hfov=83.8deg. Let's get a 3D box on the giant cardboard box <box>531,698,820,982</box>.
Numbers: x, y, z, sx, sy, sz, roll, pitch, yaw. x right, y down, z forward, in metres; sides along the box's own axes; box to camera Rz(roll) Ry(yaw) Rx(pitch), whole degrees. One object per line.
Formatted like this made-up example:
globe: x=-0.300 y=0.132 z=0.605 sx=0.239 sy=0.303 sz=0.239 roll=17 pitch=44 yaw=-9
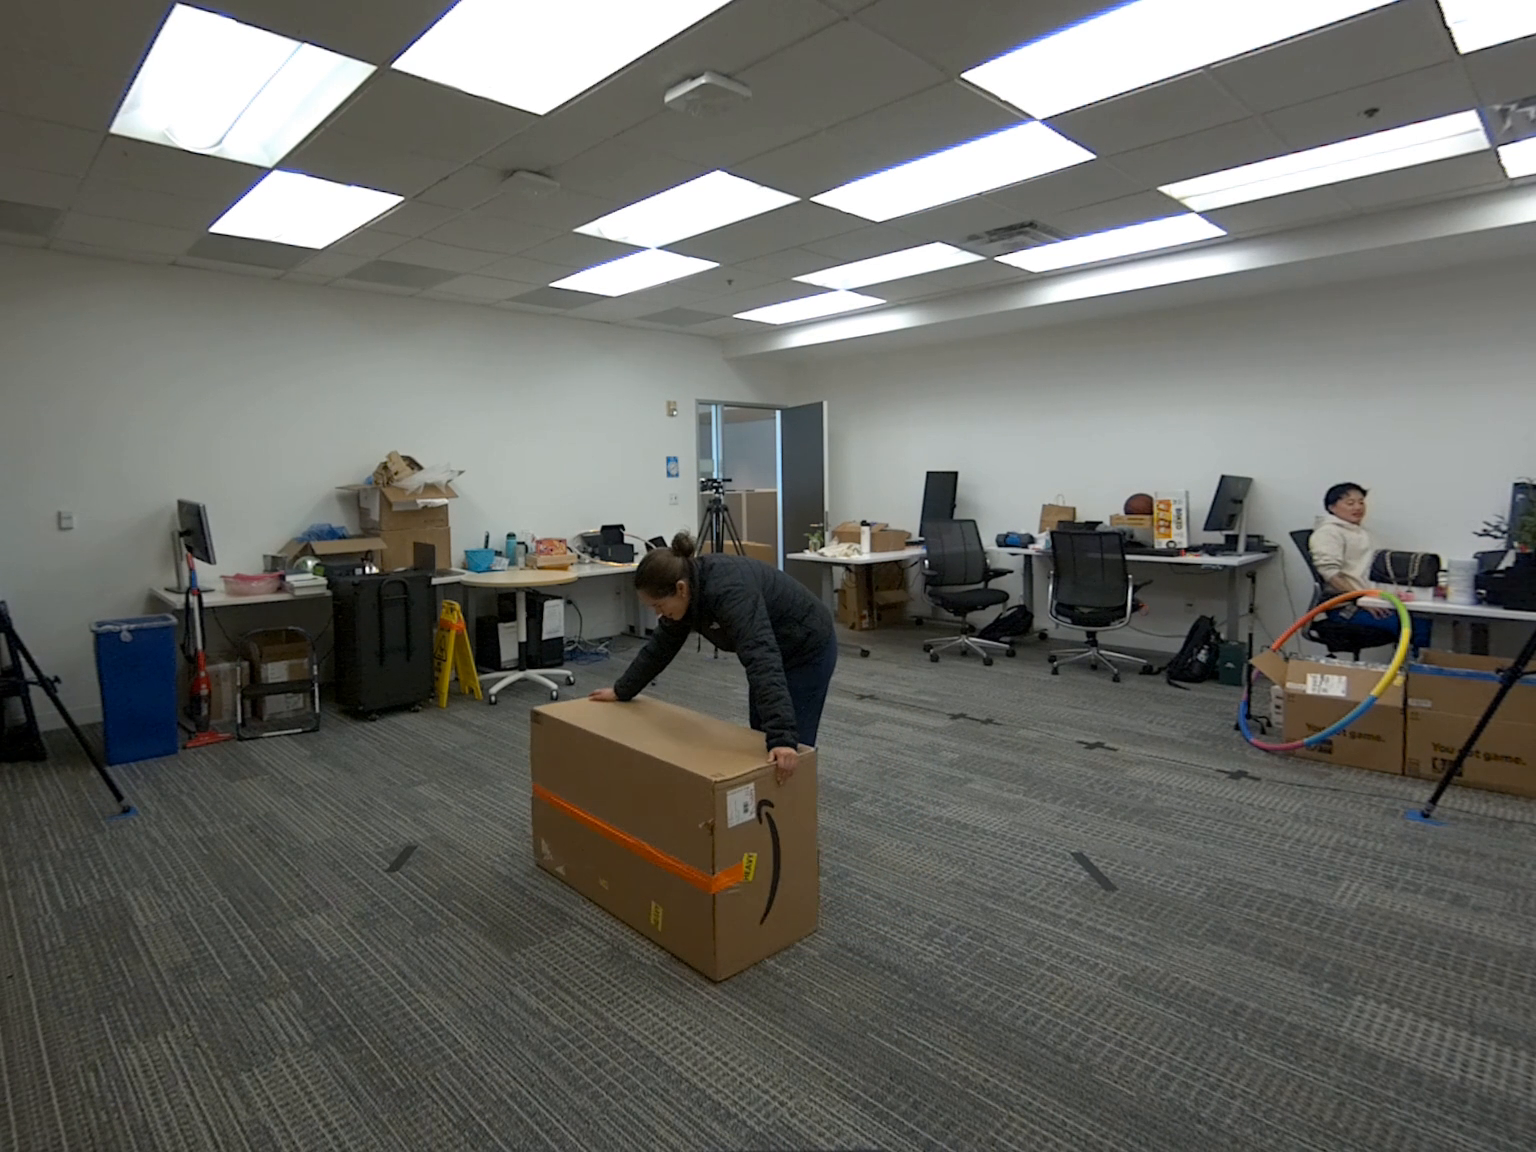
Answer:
giant cardboard box: x=-0.354 y=0.790 z=2.872 sx=0.434 sy=0.582 sz=1.059 roll=-2 pitch=5 yaw=-42
